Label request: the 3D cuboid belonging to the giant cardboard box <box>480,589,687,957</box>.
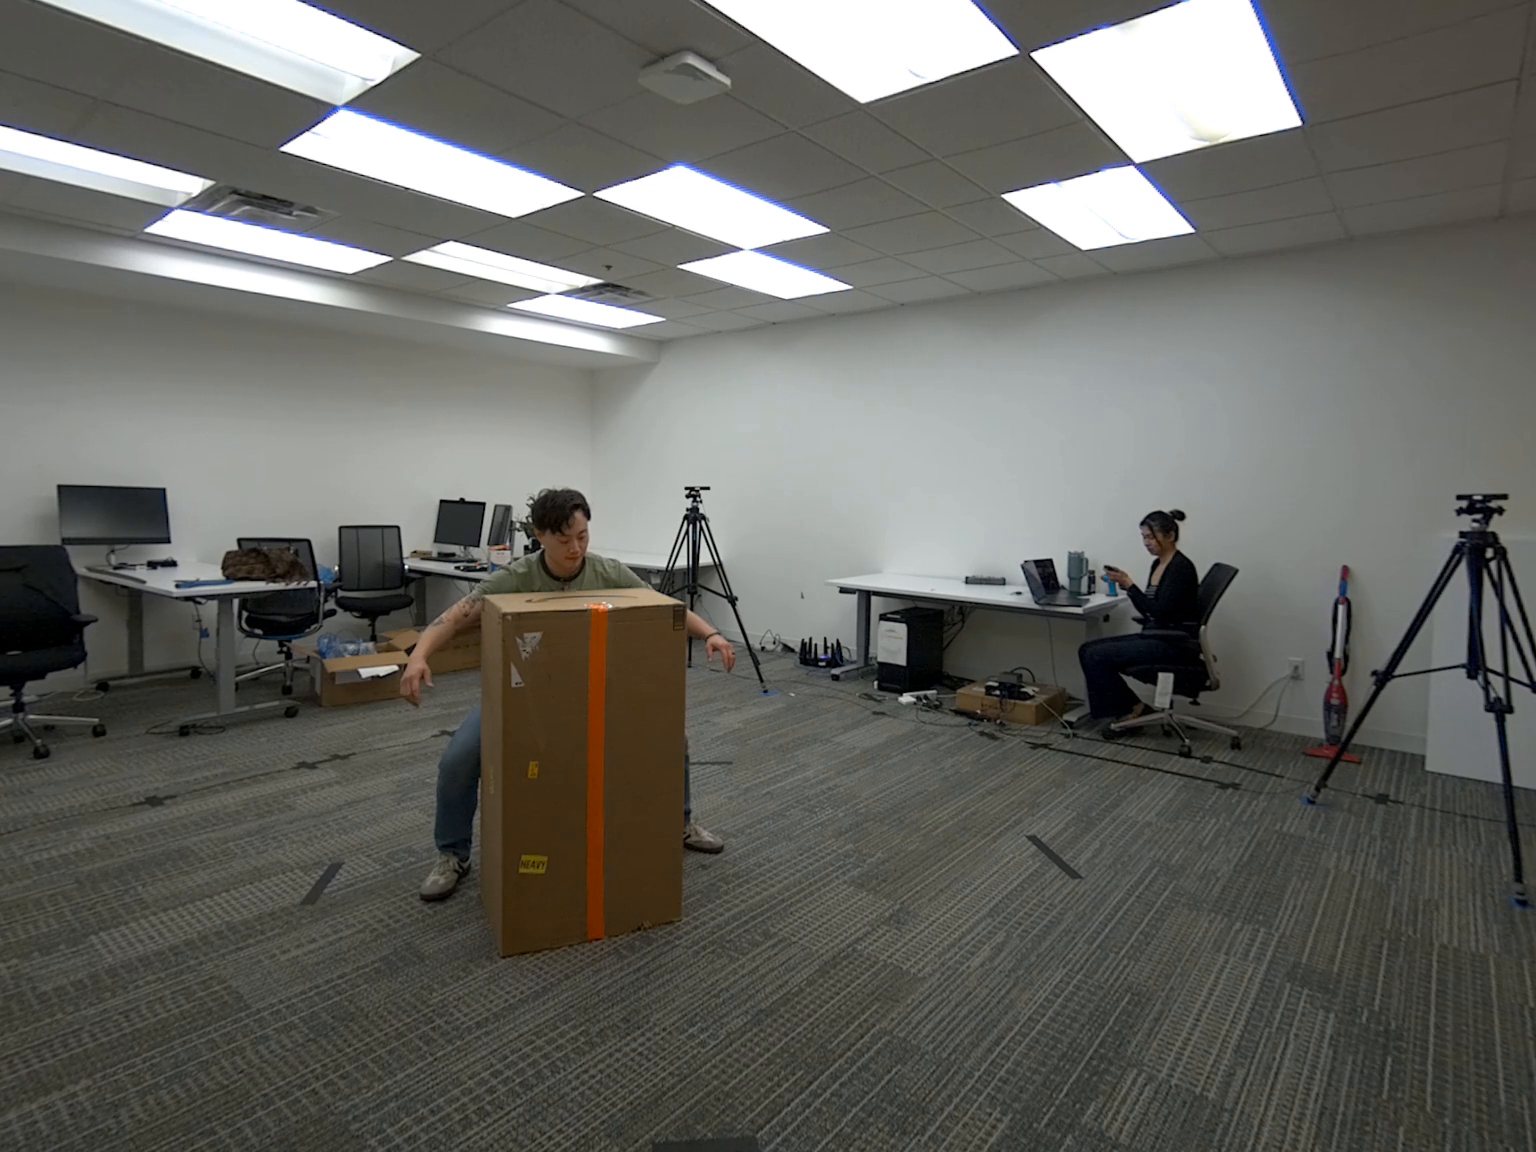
[{"bbox_3d":[-0.615,0.585,2.766,0.564,1.023,0.438,-1,4,-25],"label":"giant cardboard box"}]
